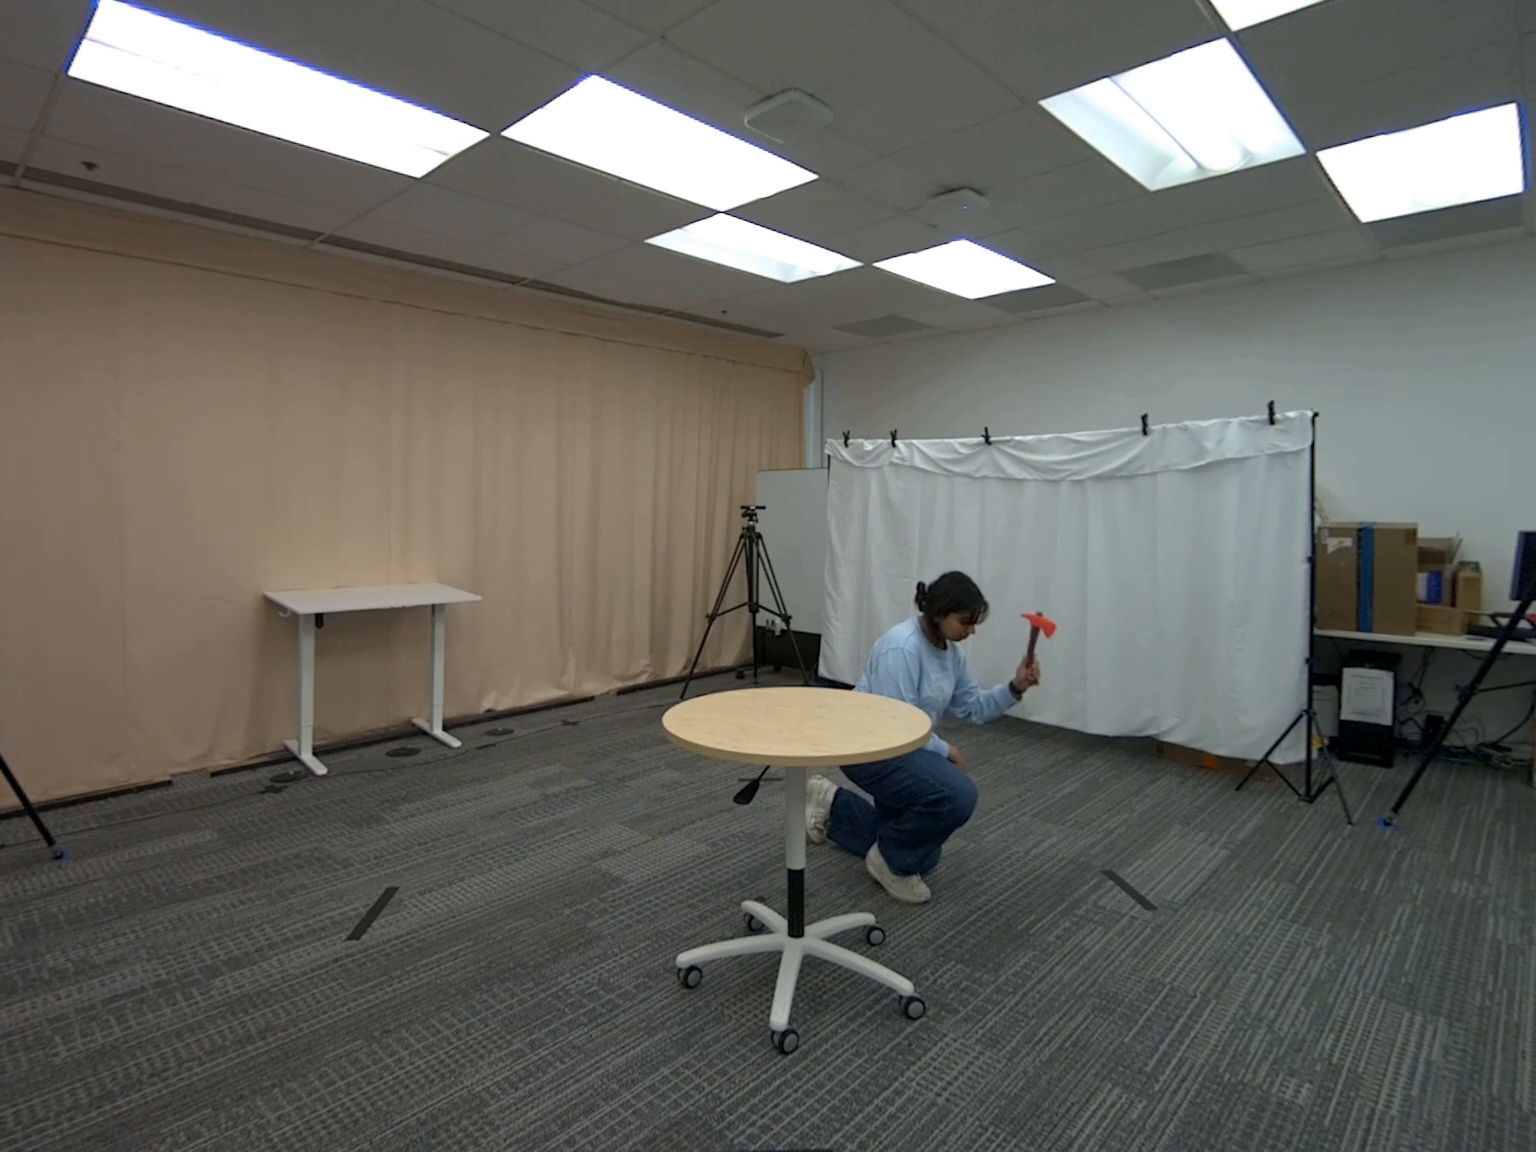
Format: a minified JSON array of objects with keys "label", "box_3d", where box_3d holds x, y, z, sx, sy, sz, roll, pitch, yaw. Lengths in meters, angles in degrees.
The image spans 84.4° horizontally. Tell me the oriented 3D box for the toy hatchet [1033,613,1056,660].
[{"label":"toy hatchet","box_3d":[1.052,0.304,3.041,0.135,0.270,0.029,1,3,37]}]
